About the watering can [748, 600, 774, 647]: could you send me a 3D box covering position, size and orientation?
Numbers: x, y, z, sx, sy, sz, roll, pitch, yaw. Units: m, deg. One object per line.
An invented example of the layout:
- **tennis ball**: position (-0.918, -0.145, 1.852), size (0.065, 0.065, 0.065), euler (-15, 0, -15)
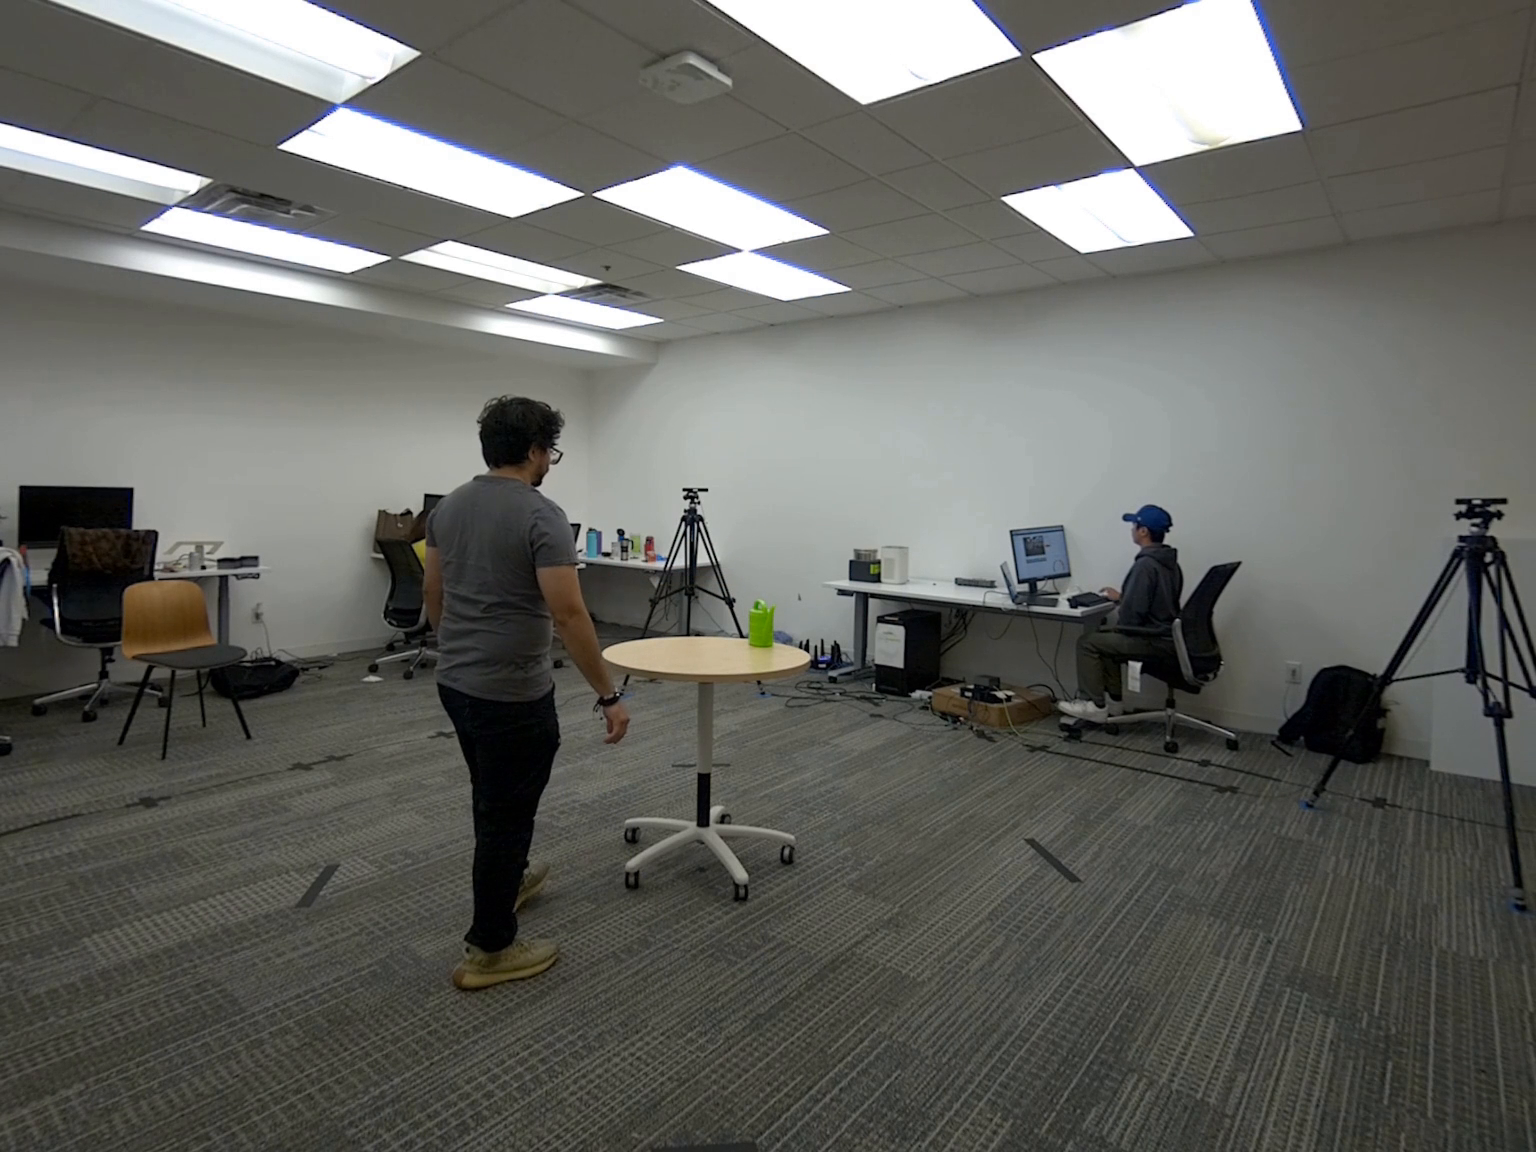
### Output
- **watering can**: position (-0.041, 0.185, 3.315), size (0.098, 0.176, 0.279), euler (2, 3, -4)
